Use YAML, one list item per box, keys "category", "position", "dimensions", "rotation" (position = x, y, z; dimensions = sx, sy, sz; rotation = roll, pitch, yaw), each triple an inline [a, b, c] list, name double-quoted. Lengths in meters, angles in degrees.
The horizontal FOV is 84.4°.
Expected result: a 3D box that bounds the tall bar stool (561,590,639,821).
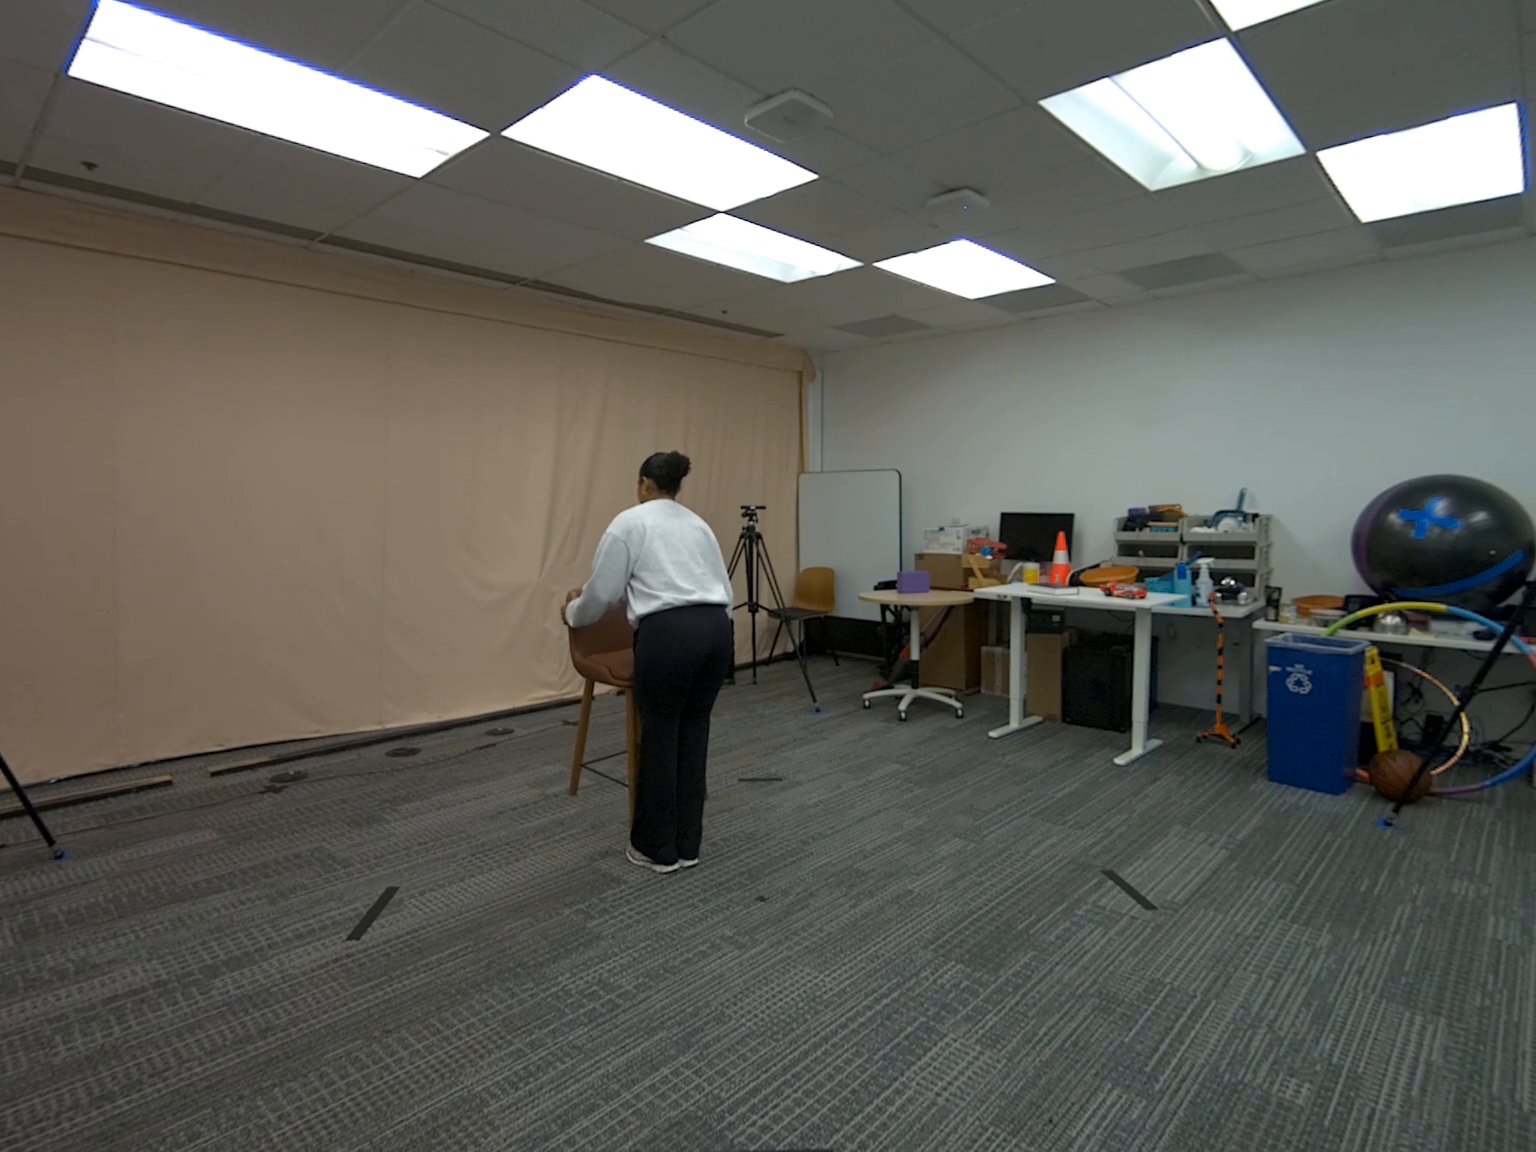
- category: "tall bar stool"
  position: [-0.554, 0.504, 3.498]
  dimensions: [0.483, 0.887, 0.443]
  rotation: [4, 6, 43]
